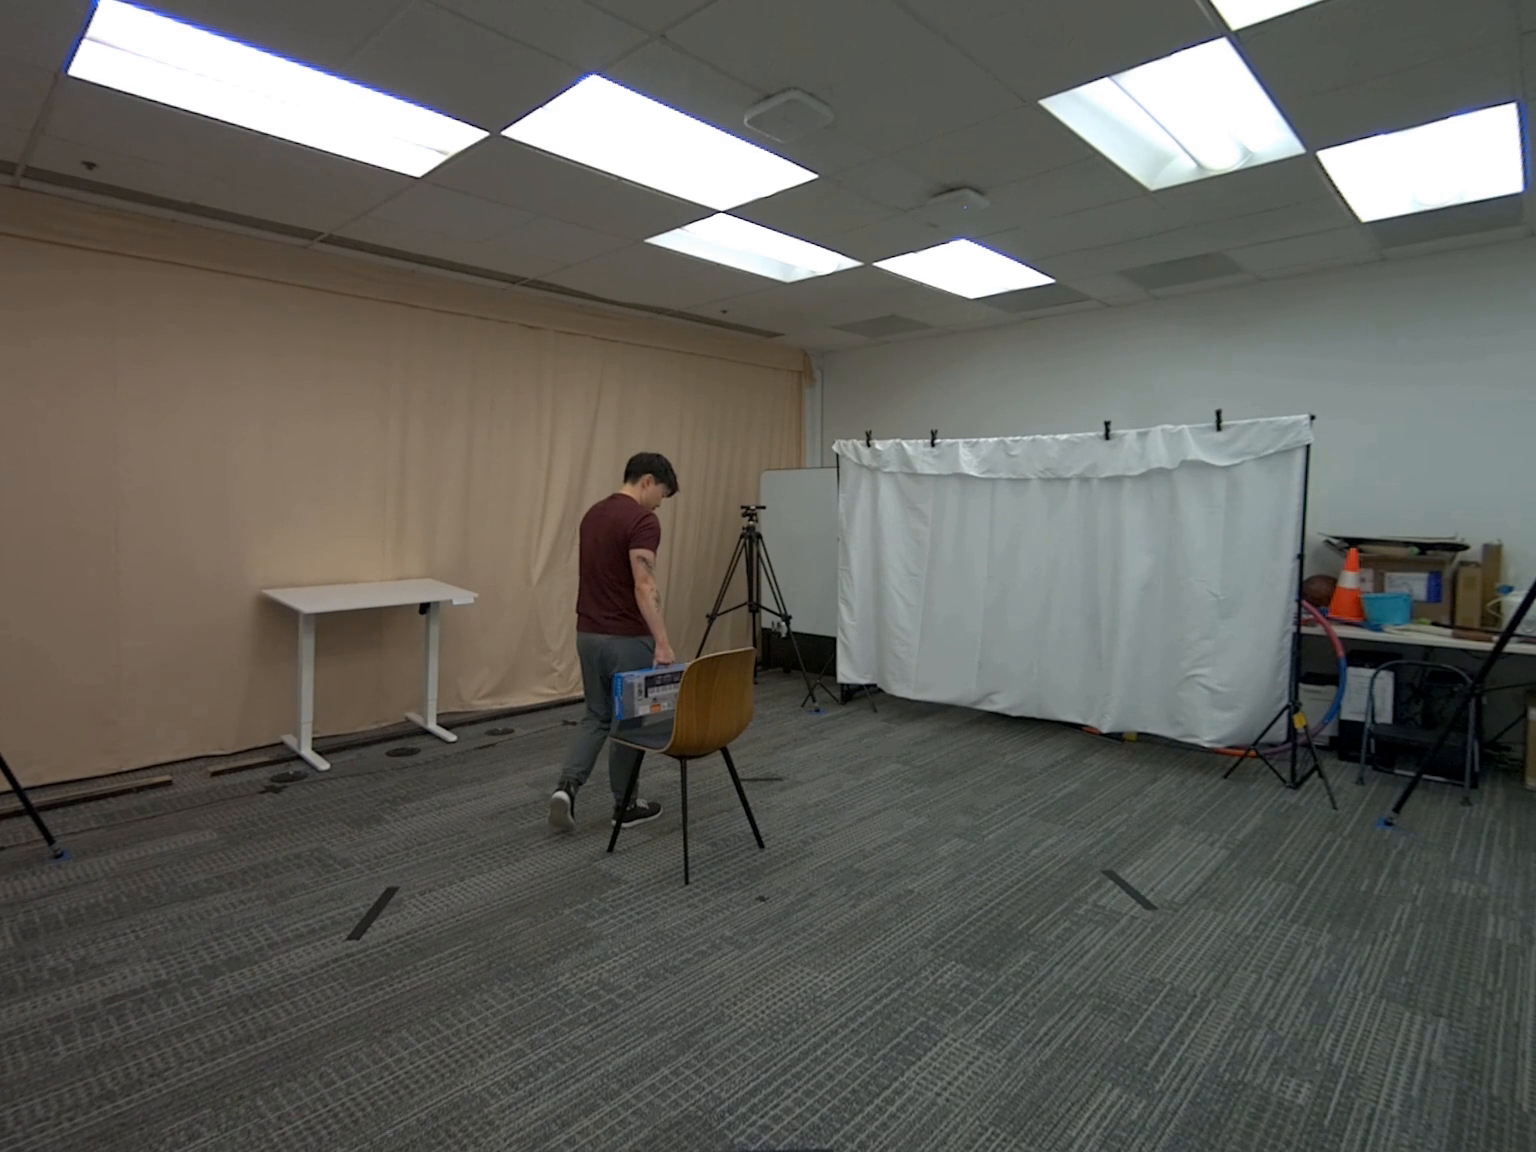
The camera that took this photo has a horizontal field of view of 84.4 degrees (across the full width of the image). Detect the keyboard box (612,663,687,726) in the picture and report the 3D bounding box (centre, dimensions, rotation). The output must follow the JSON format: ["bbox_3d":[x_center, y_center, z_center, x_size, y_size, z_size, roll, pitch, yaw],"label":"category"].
[{"bbox_3d":[-0.418,0.456,3.395,0.424,0.175,0.061,-4,5,-40],"label":"keyboard box"}]
